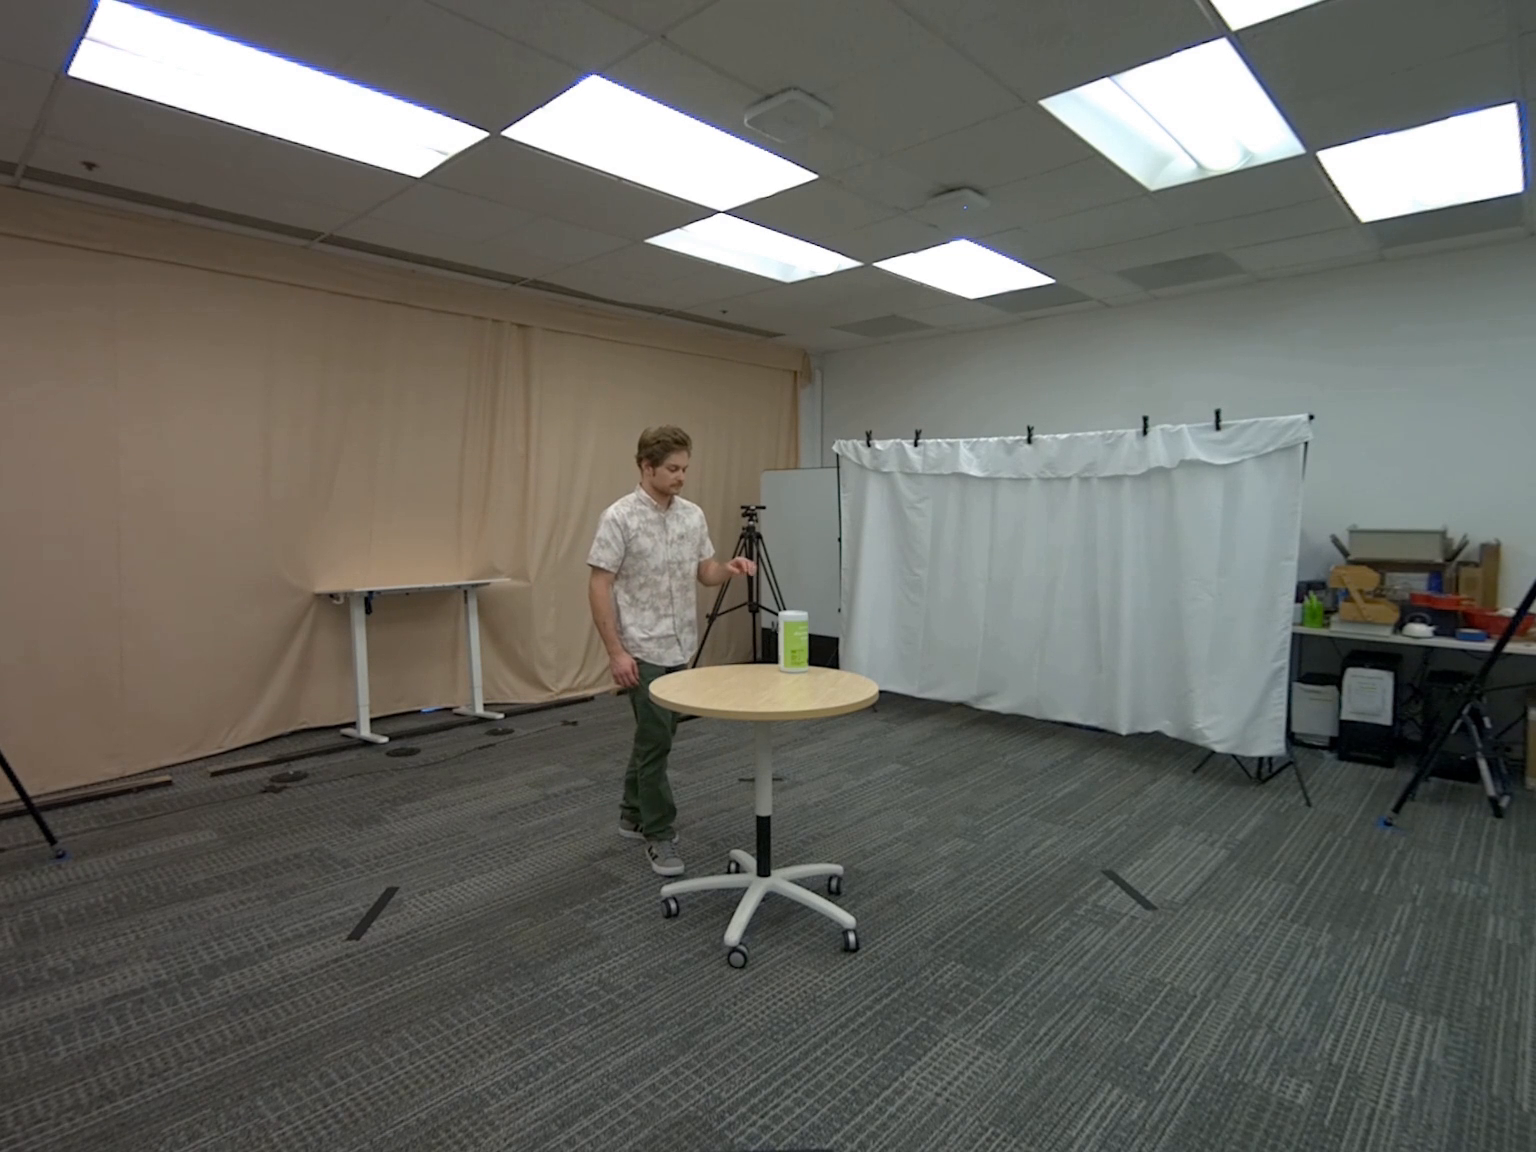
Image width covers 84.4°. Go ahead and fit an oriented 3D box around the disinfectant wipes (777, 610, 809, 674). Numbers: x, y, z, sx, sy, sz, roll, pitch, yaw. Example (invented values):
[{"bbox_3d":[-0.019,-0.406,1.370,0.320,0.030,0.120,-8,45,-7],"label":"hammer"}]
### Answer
[{"bbox_3d":[0.098,0.241,3.071,0.118,0.217,0.118,1,2,-2],"label":"disinfectant wipes"}]
